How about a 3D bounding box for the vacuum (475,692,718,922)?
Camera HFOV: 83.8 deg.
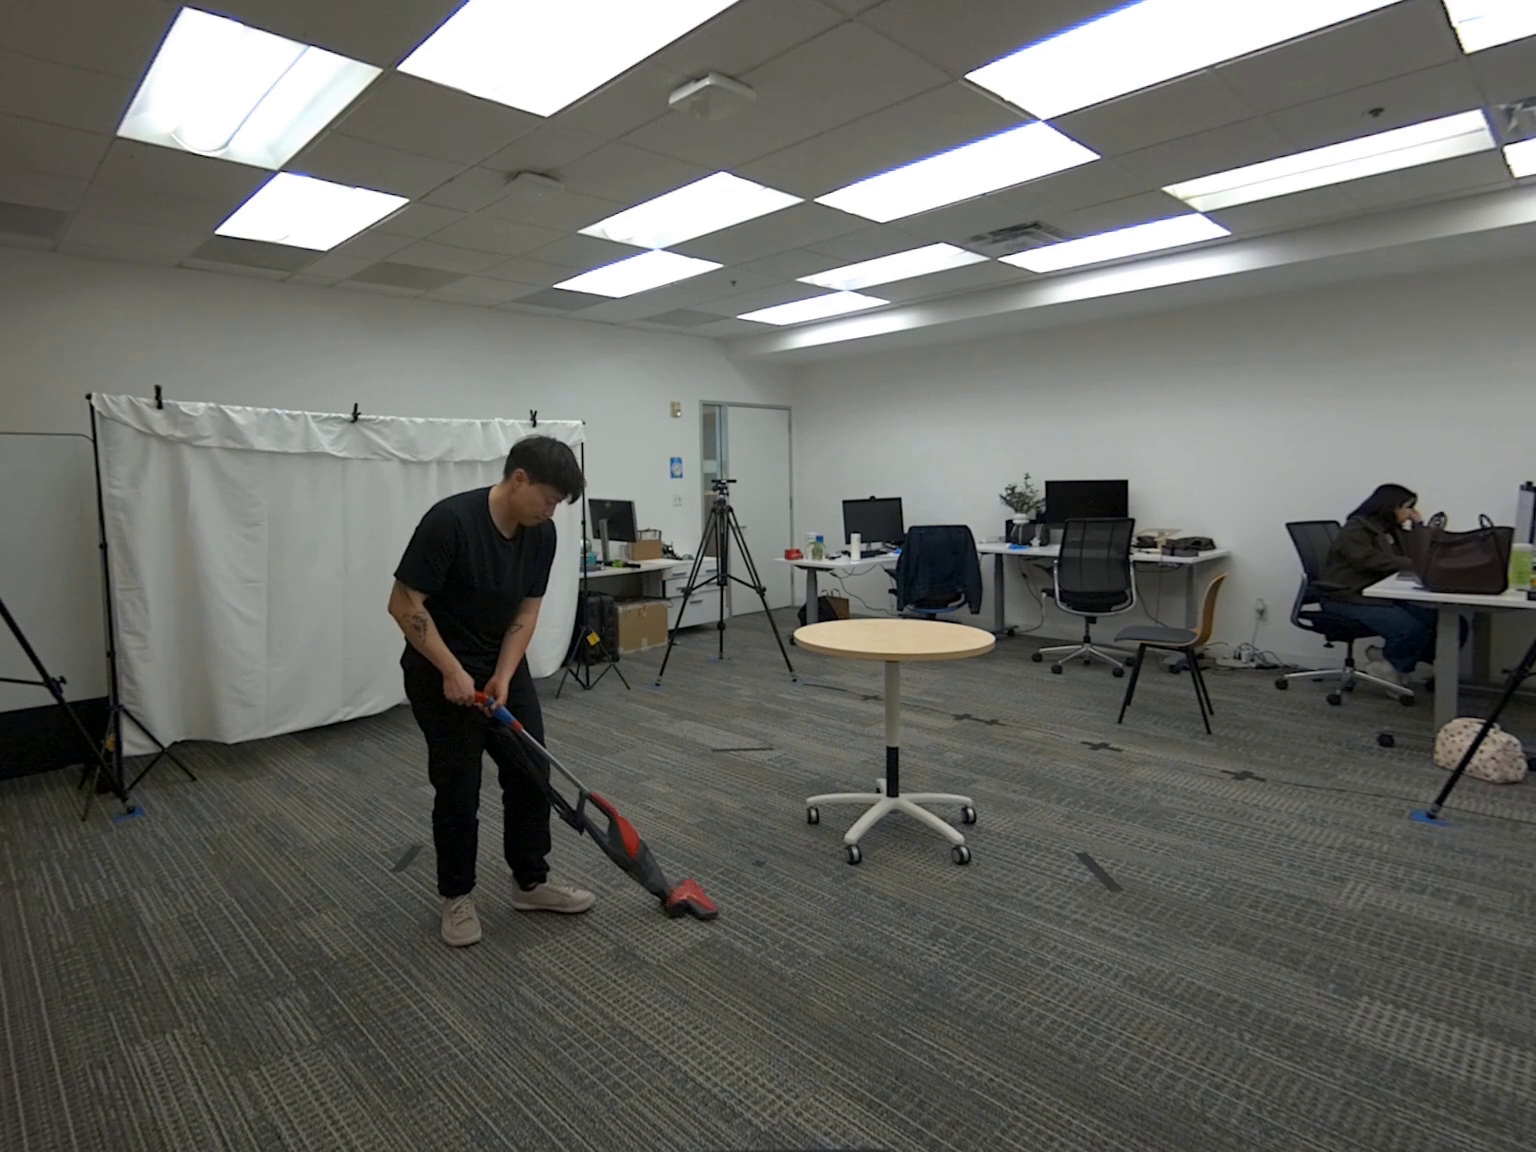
[{"bbox_3d":[-0.565,0.707,2.661,0.144,1.024,0.259,-46,19,-10],"label":"vacuum"}]
